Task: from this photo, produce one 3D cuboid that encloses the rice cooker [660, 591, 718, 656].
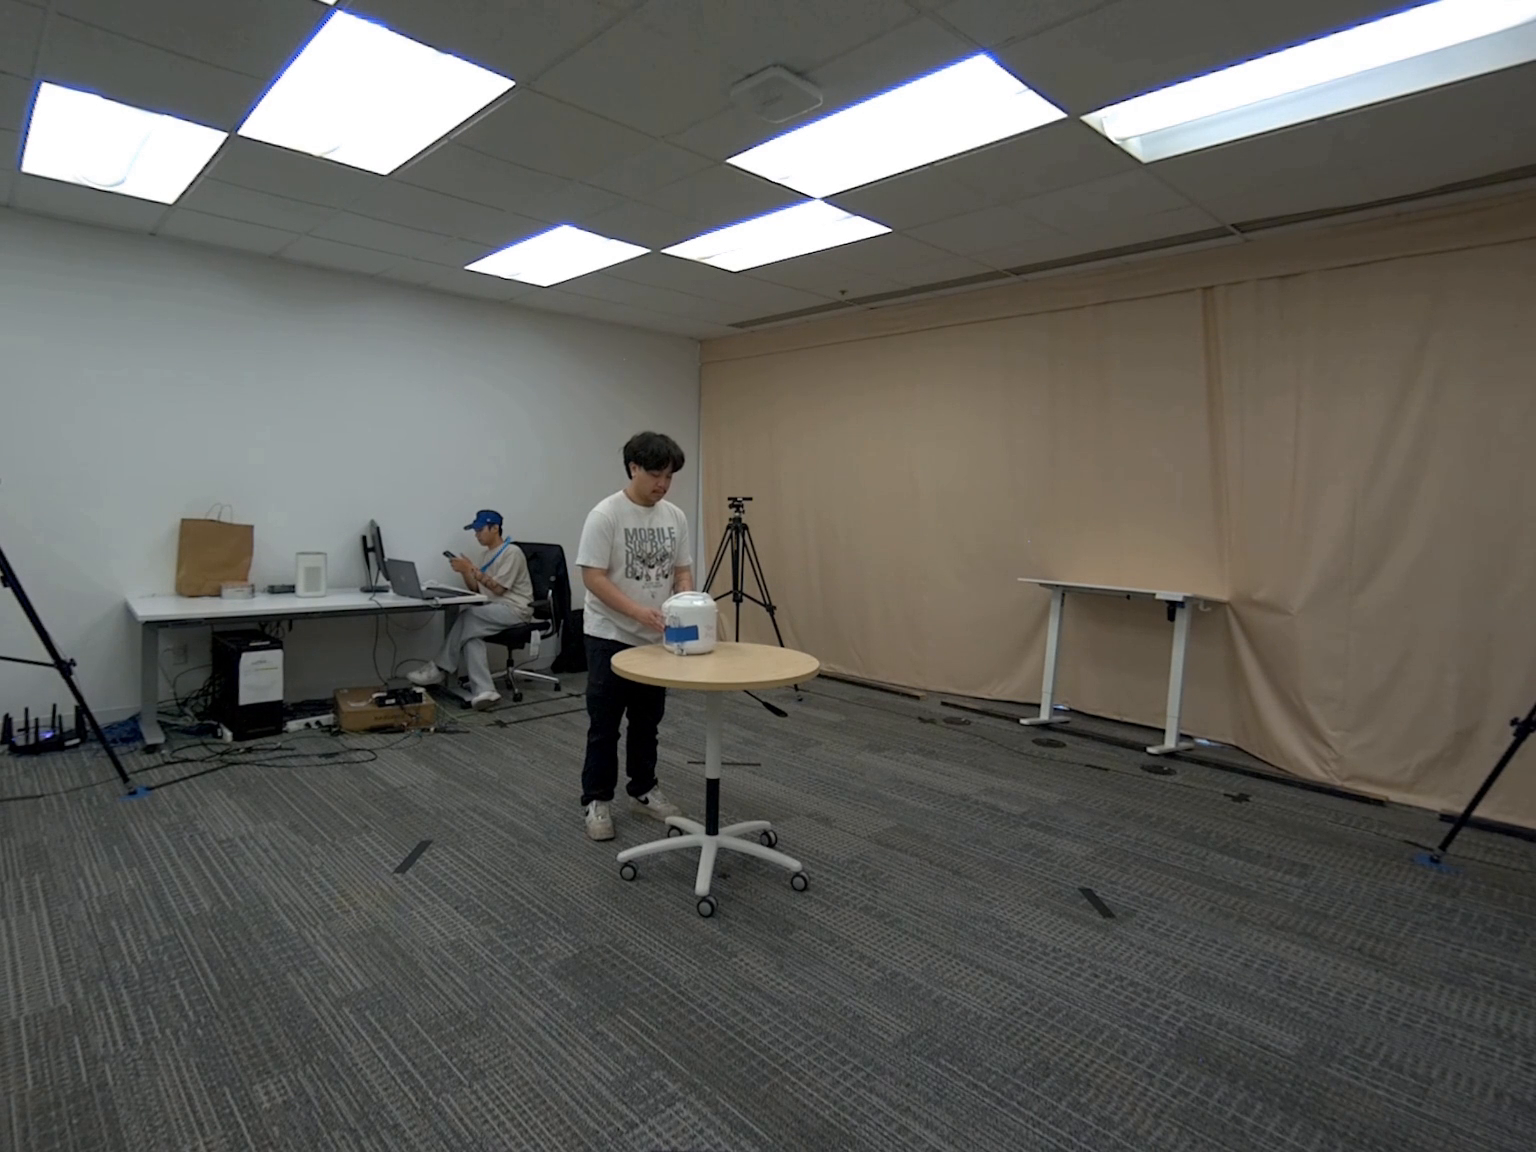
[{"bbox_3d":[-0.309,0.177,3.260,0.217,0.232,0.222,1,4,-23],"label":"rice cooker"}]
